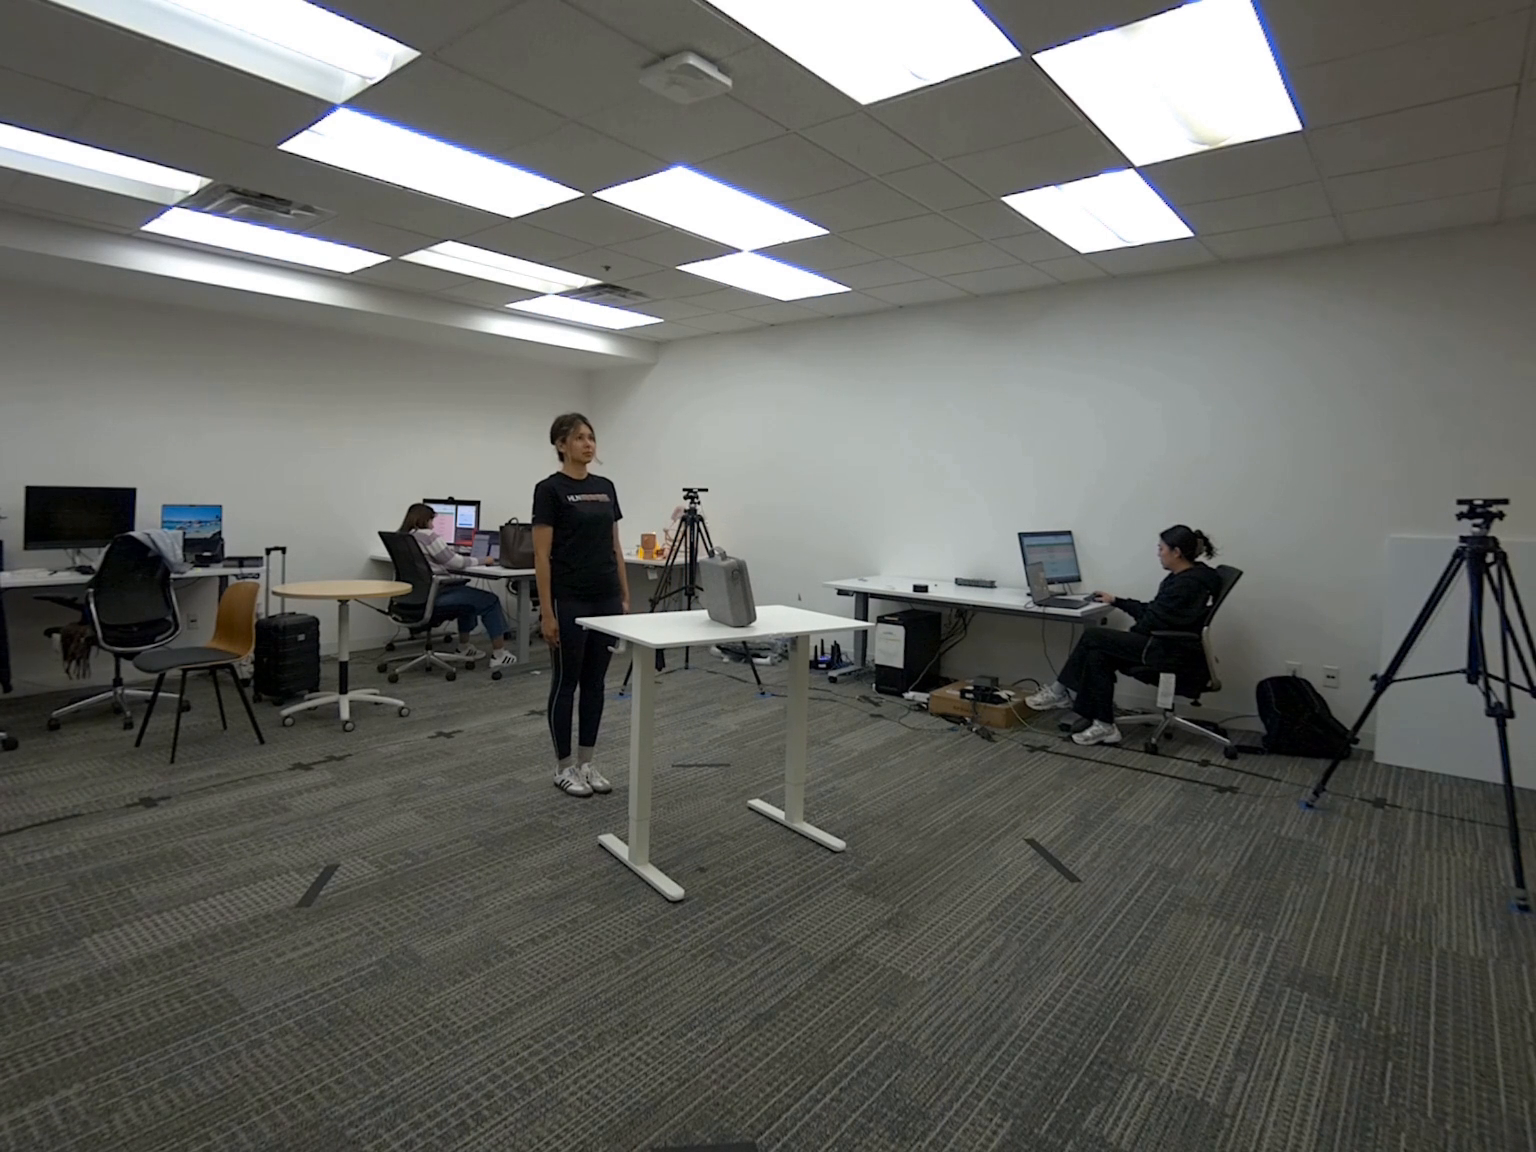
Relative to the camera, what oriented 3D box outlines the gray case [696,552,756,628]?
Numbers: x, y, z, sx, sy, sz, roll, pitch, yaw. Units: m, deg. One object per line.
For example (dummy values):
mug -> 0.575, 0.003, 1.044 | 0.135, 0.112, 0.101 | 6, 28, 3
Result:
gray case -> -0.164, 0.047, 3.220 | 0.102, 0.259, 0.264 | -9, 8, -24
